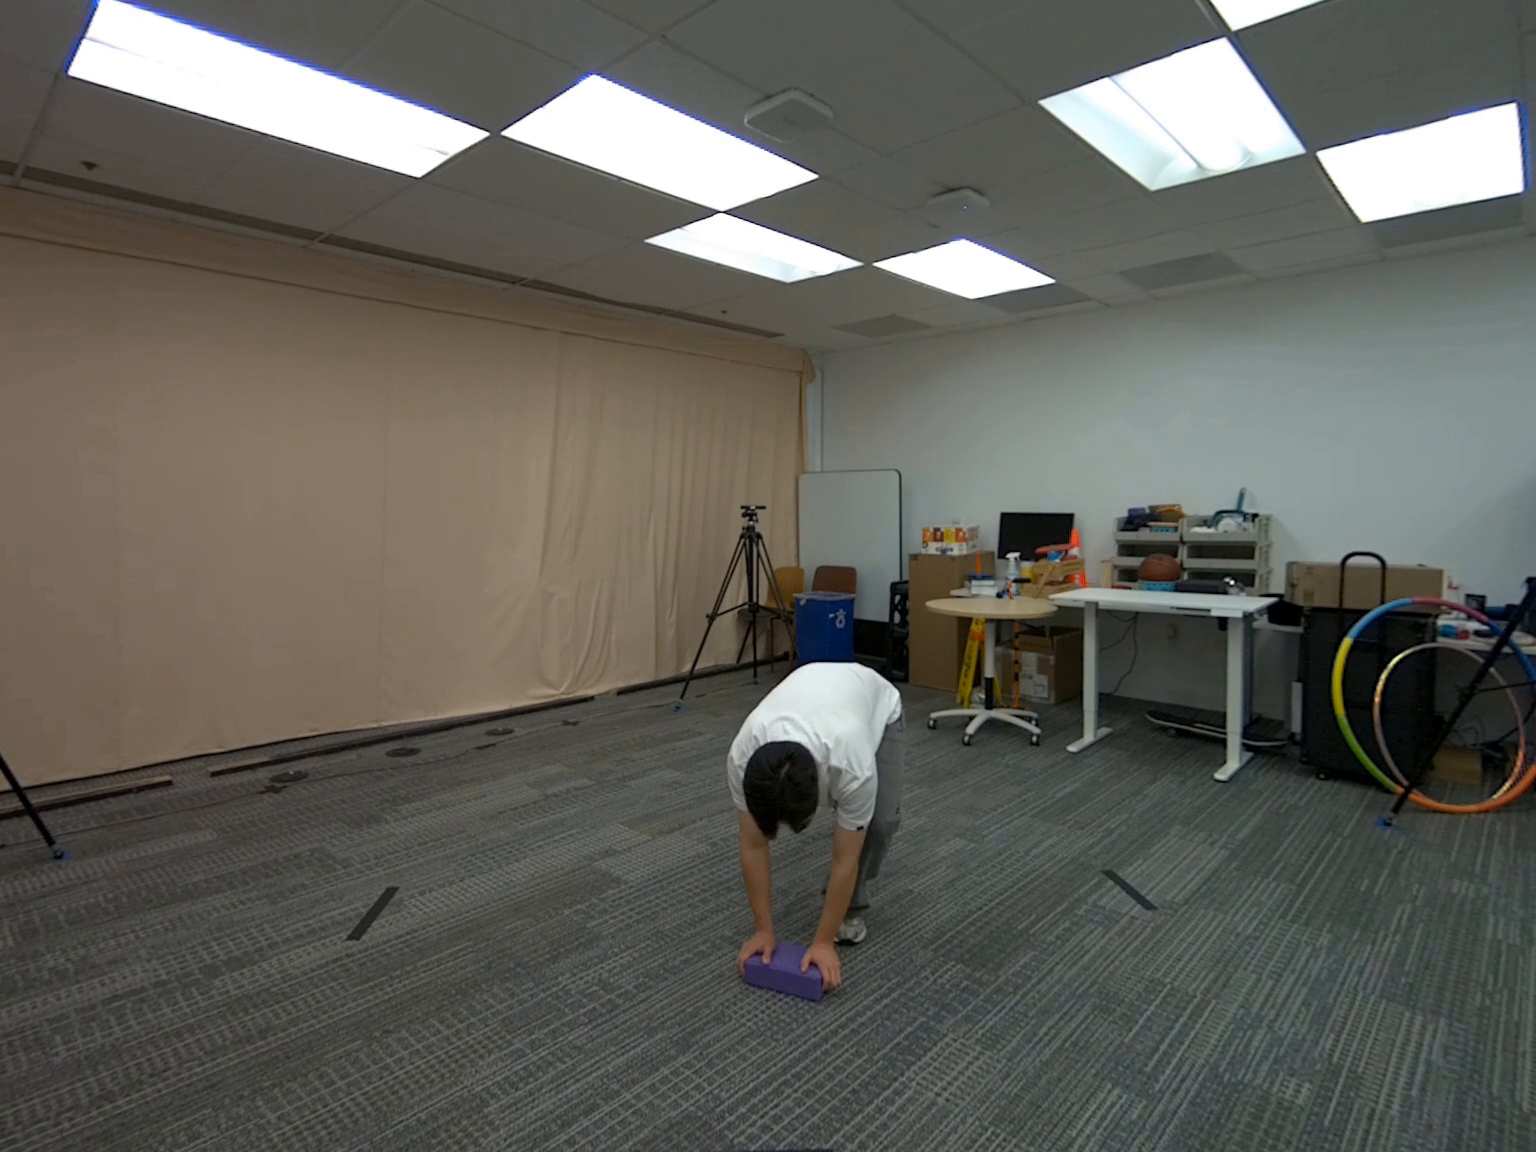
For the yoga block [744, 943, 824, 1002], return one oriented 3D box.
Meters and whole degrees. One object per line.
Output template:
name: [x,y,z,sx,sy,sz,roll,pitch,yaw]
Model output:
yoga block: [0.075,1.155,2.463,0.235,0.076,0.146,3,7,24]
